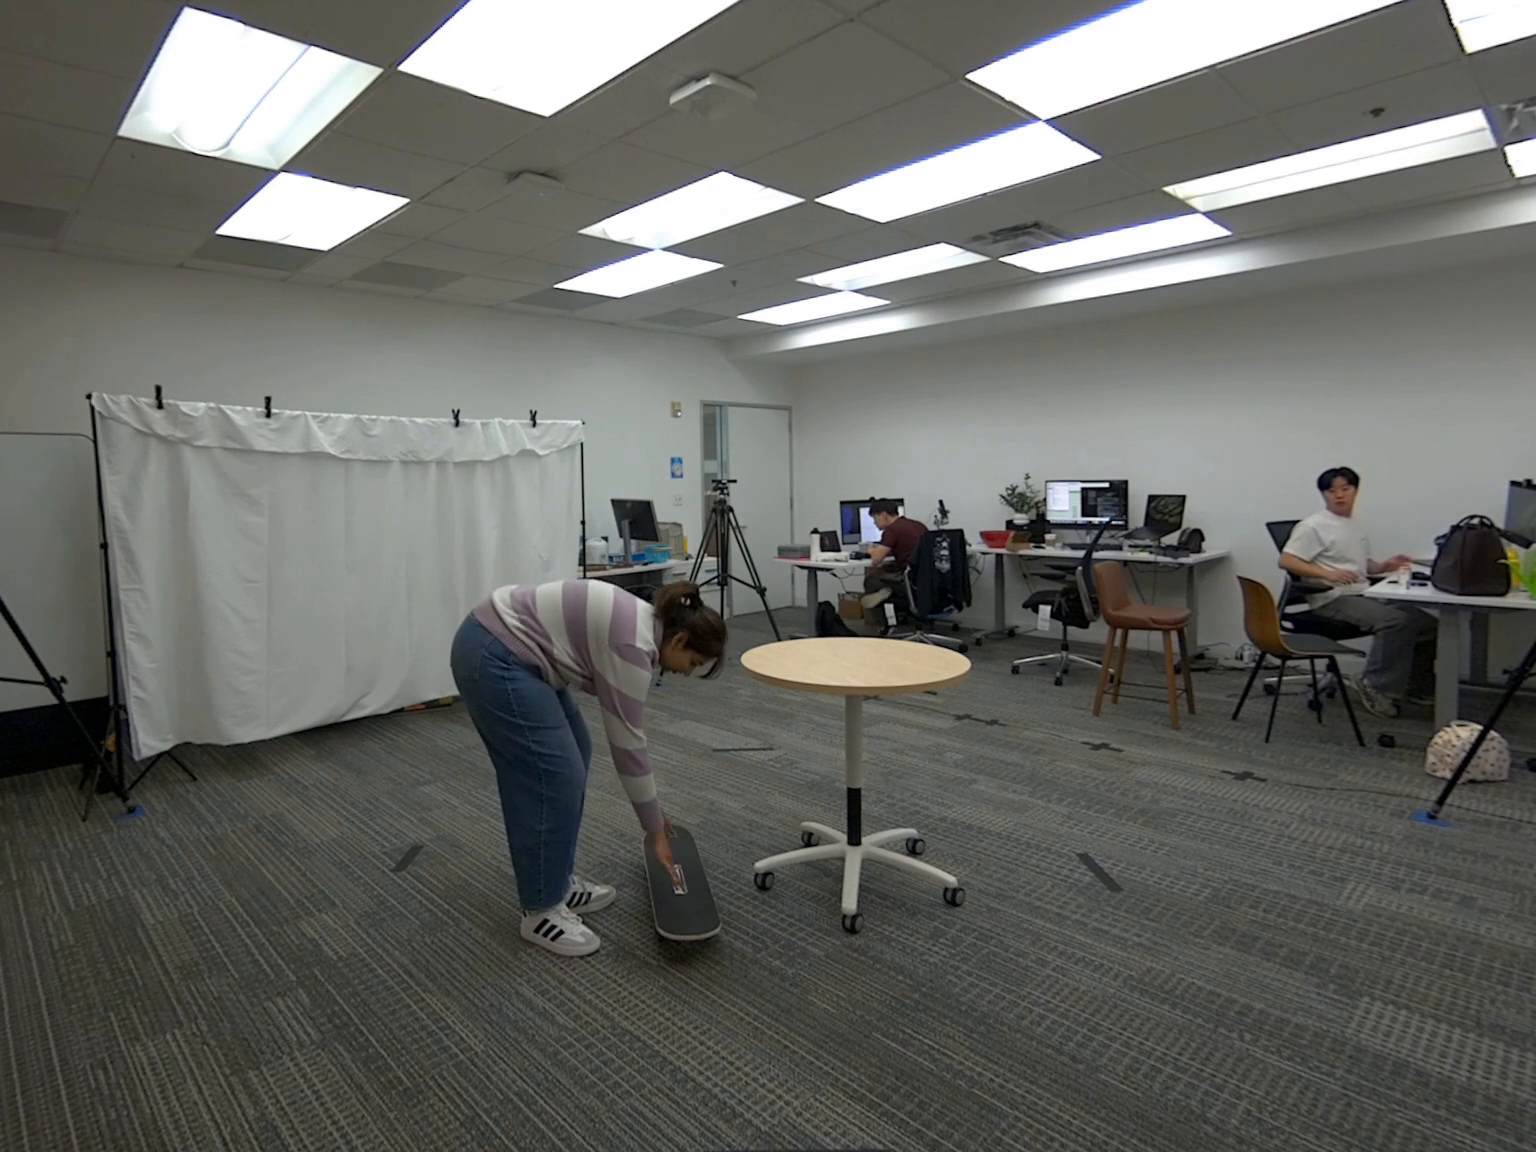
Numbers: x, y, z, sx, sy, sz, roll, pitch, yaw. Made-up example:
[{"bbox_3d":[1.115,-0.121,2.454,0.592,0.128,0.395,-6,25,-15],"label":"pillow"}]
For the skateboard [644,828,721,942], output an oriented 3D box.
[{"bbox_3d":[-0.290,1.024,2.815,0.191,0.110,0.797,-2,7,-12],"label":"skateboard"}]
